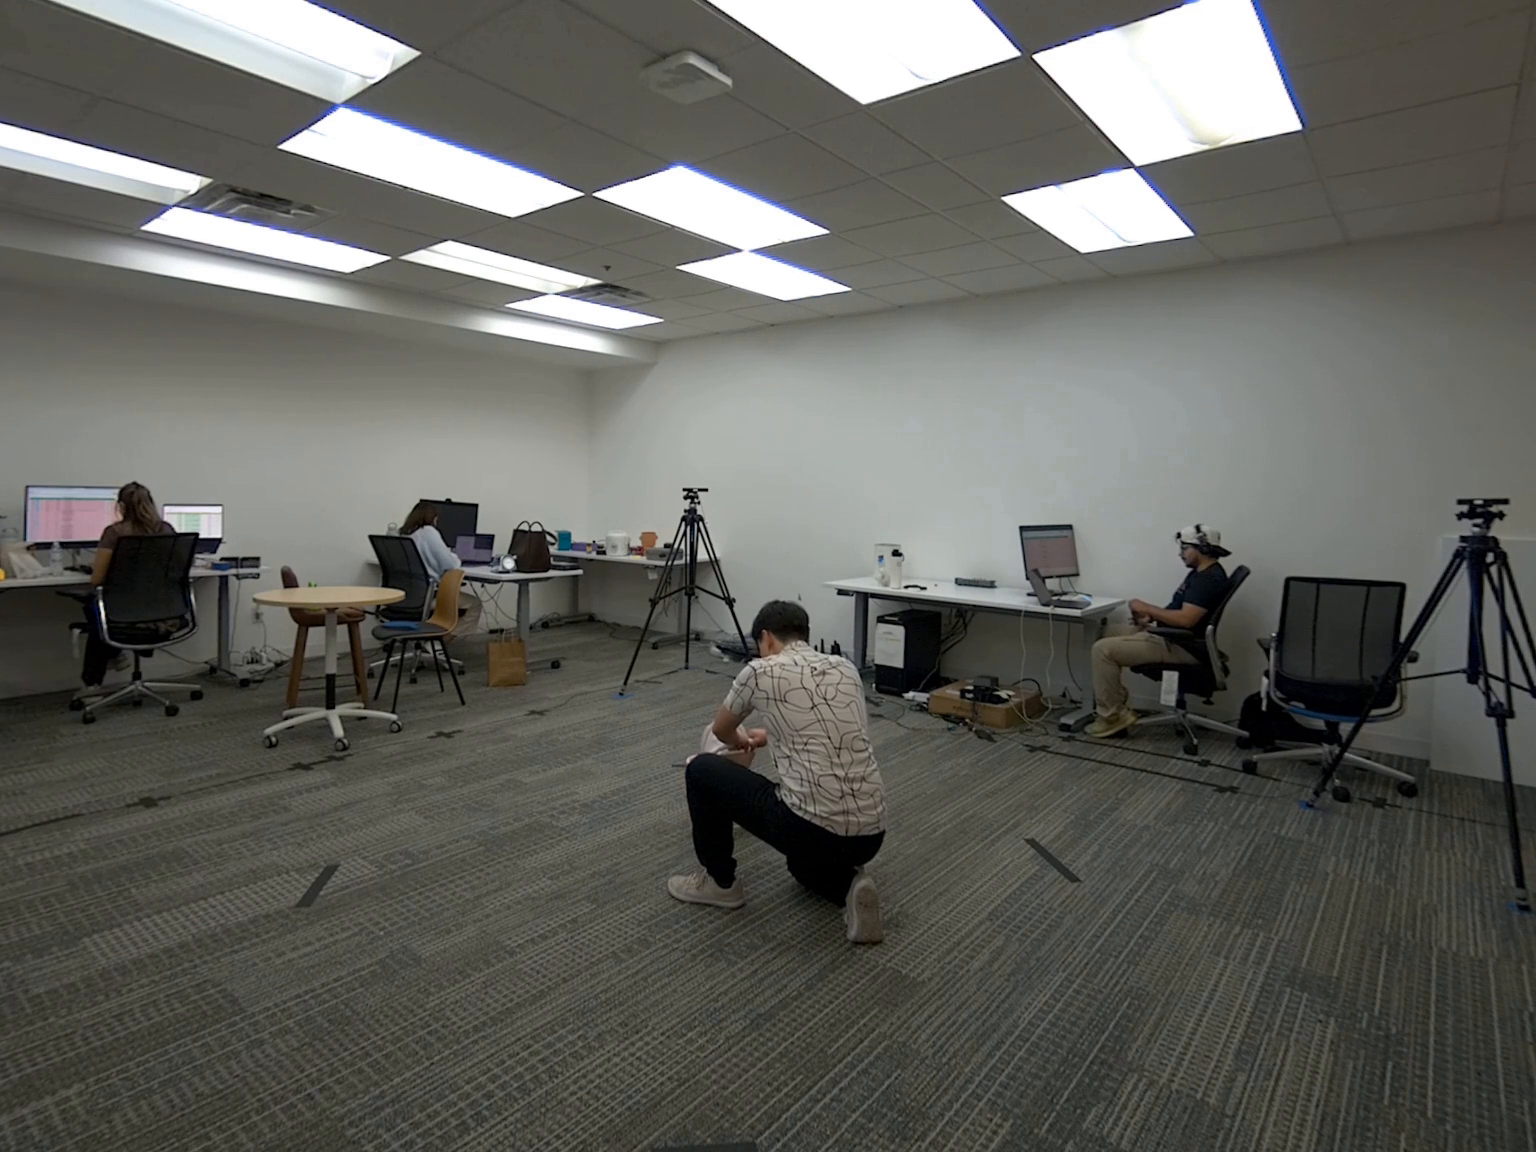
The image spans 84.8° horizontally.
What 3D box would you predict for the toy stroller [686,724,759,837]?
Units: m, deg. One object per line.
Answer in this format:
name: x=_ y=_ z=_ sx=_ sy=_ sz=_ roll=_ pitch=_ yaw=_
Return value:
toy stroller: x=-0.198 y=0.804 z=3.476 sx=0.274 sy=0.528 sz=0.354 roll=0 pitch=19 yaw=-26
